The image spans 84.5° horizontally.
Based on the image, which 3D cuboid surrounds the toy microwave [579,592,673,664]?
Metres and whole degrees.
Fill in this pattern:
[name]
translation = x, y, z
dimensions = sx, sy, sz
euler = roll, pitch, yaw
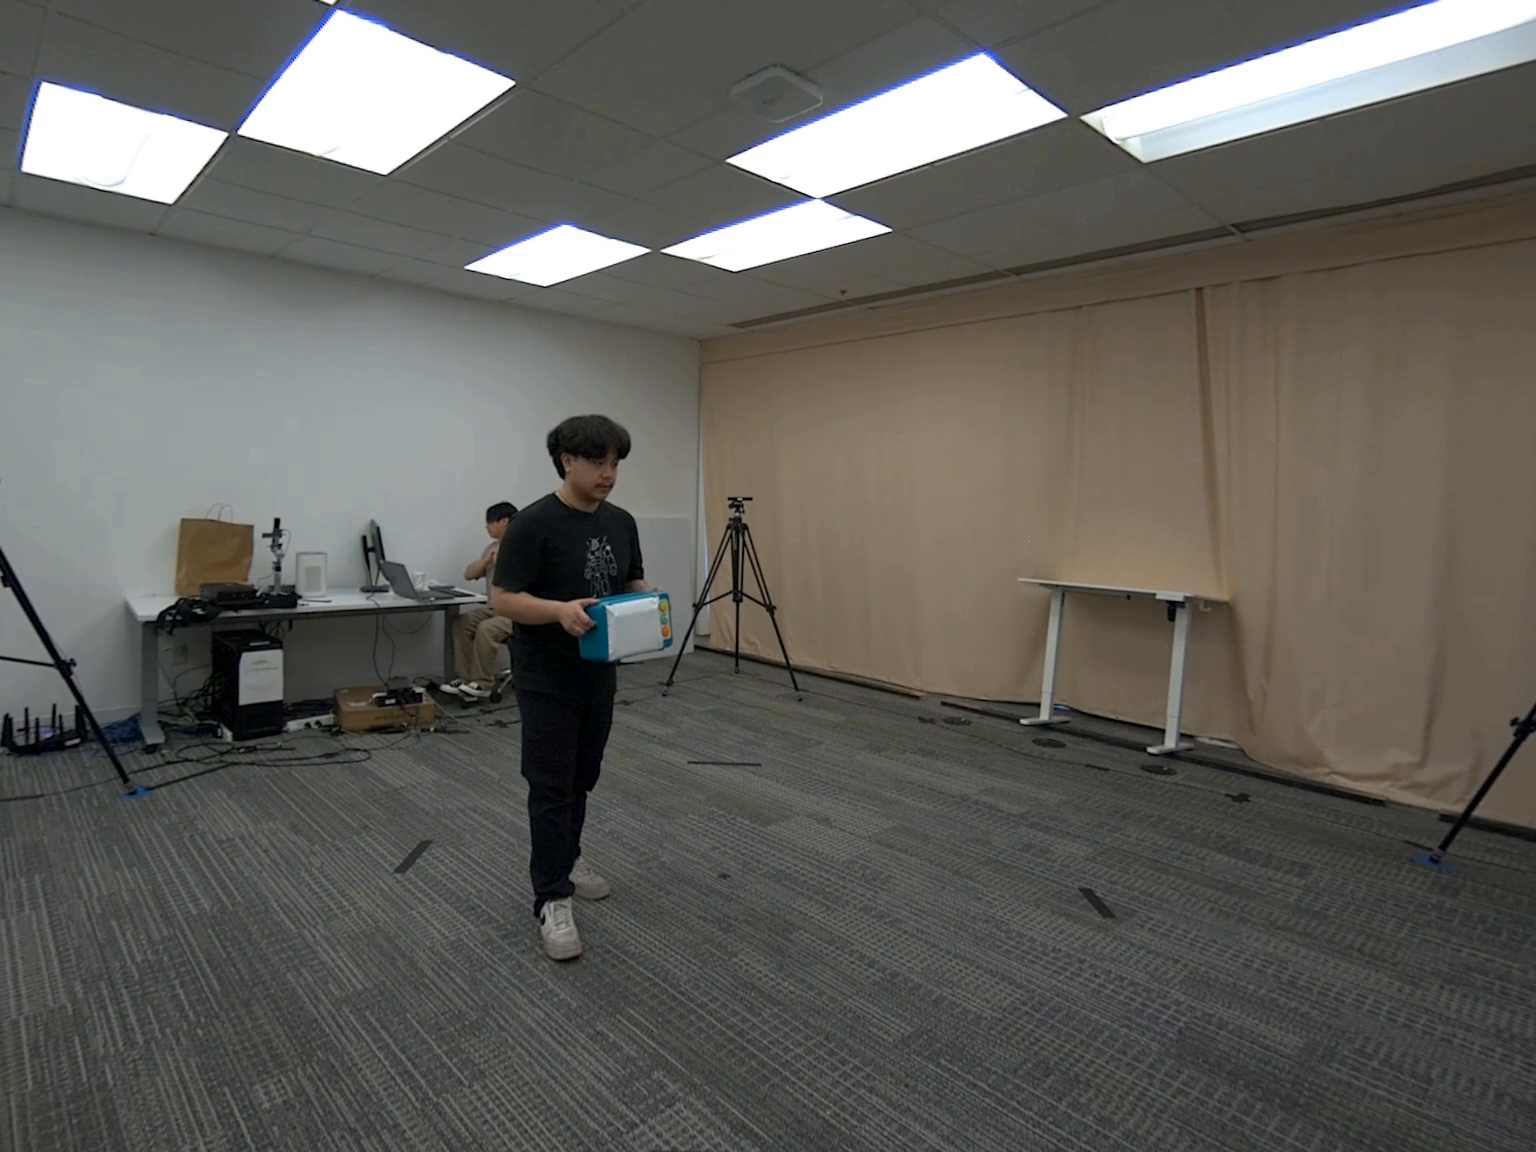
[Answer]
[toy microwave]
translation = -0.451, 0.154, 2.571
dimensions = 0.156, 0.184, 0.280
euler = -1, 5, 43
